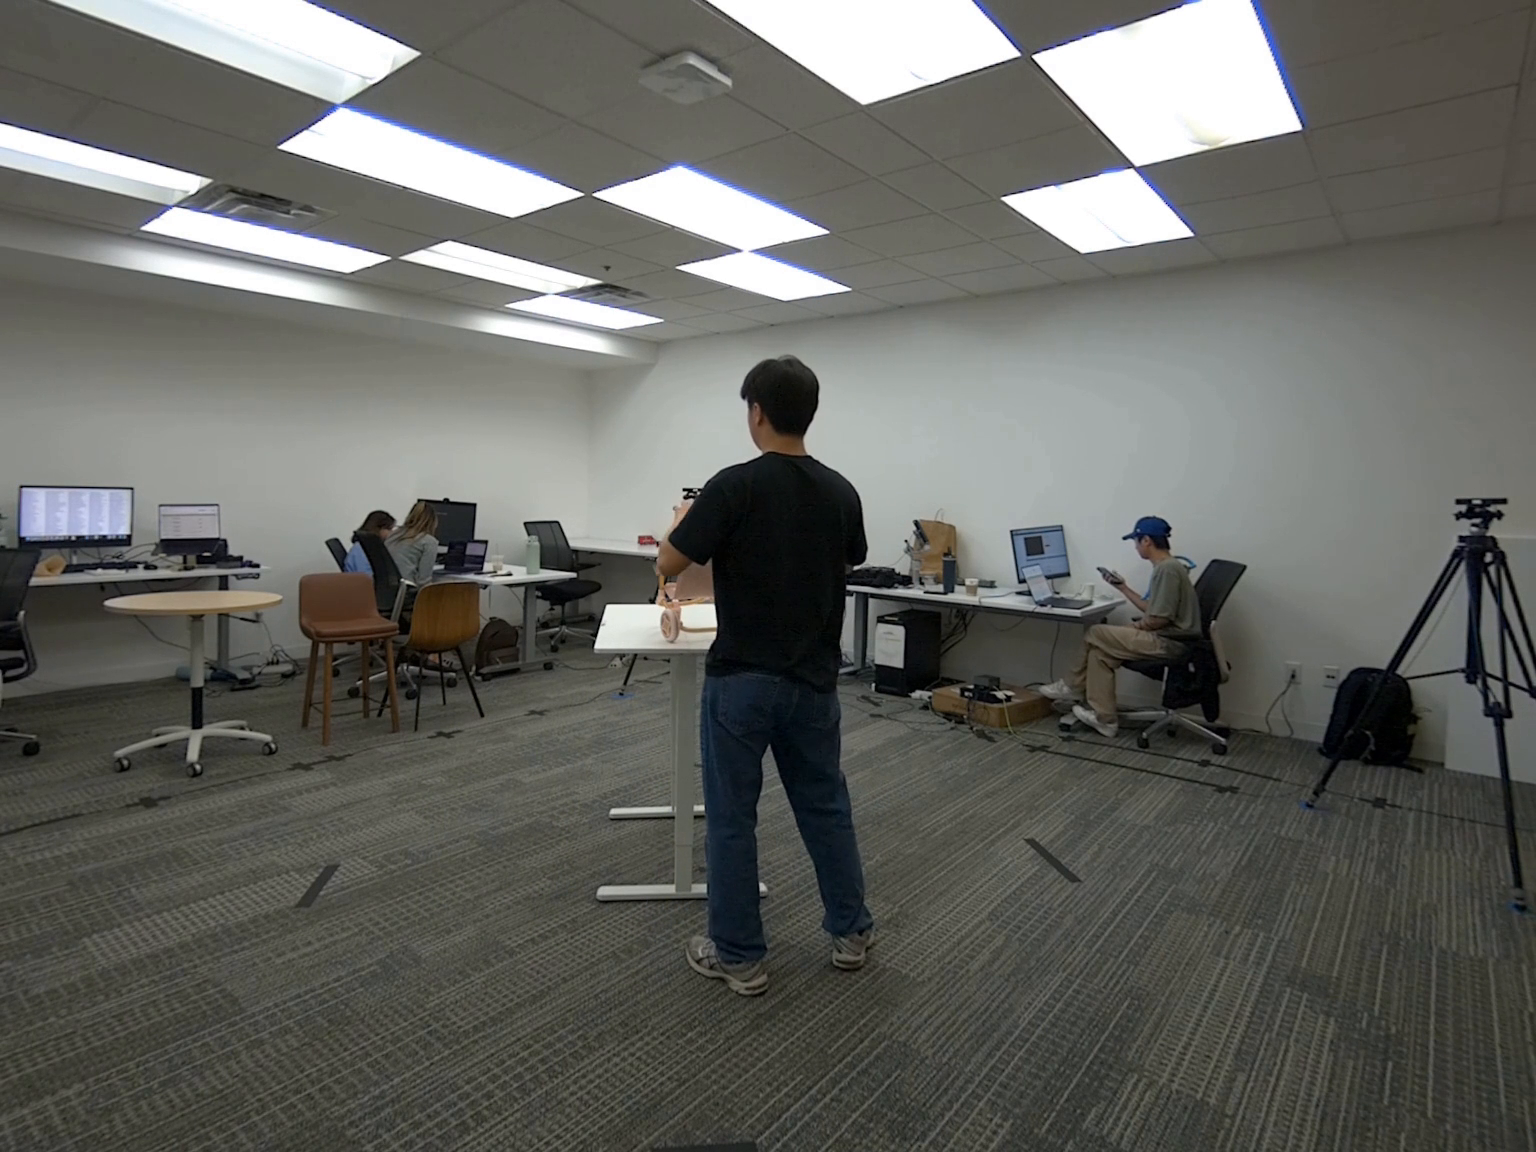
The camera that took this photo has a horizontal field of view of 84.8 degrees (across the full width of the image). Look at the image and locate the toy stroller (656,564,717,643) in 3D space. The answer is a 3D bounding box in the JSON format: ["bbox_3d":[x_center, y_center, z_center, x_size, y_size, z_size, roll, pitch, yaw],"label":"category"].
[{"bbox_3d":[-0.258,-0.020,2.924,0.275,0.528,0.354,1,18,-24],"label":"toy stroller"}]
